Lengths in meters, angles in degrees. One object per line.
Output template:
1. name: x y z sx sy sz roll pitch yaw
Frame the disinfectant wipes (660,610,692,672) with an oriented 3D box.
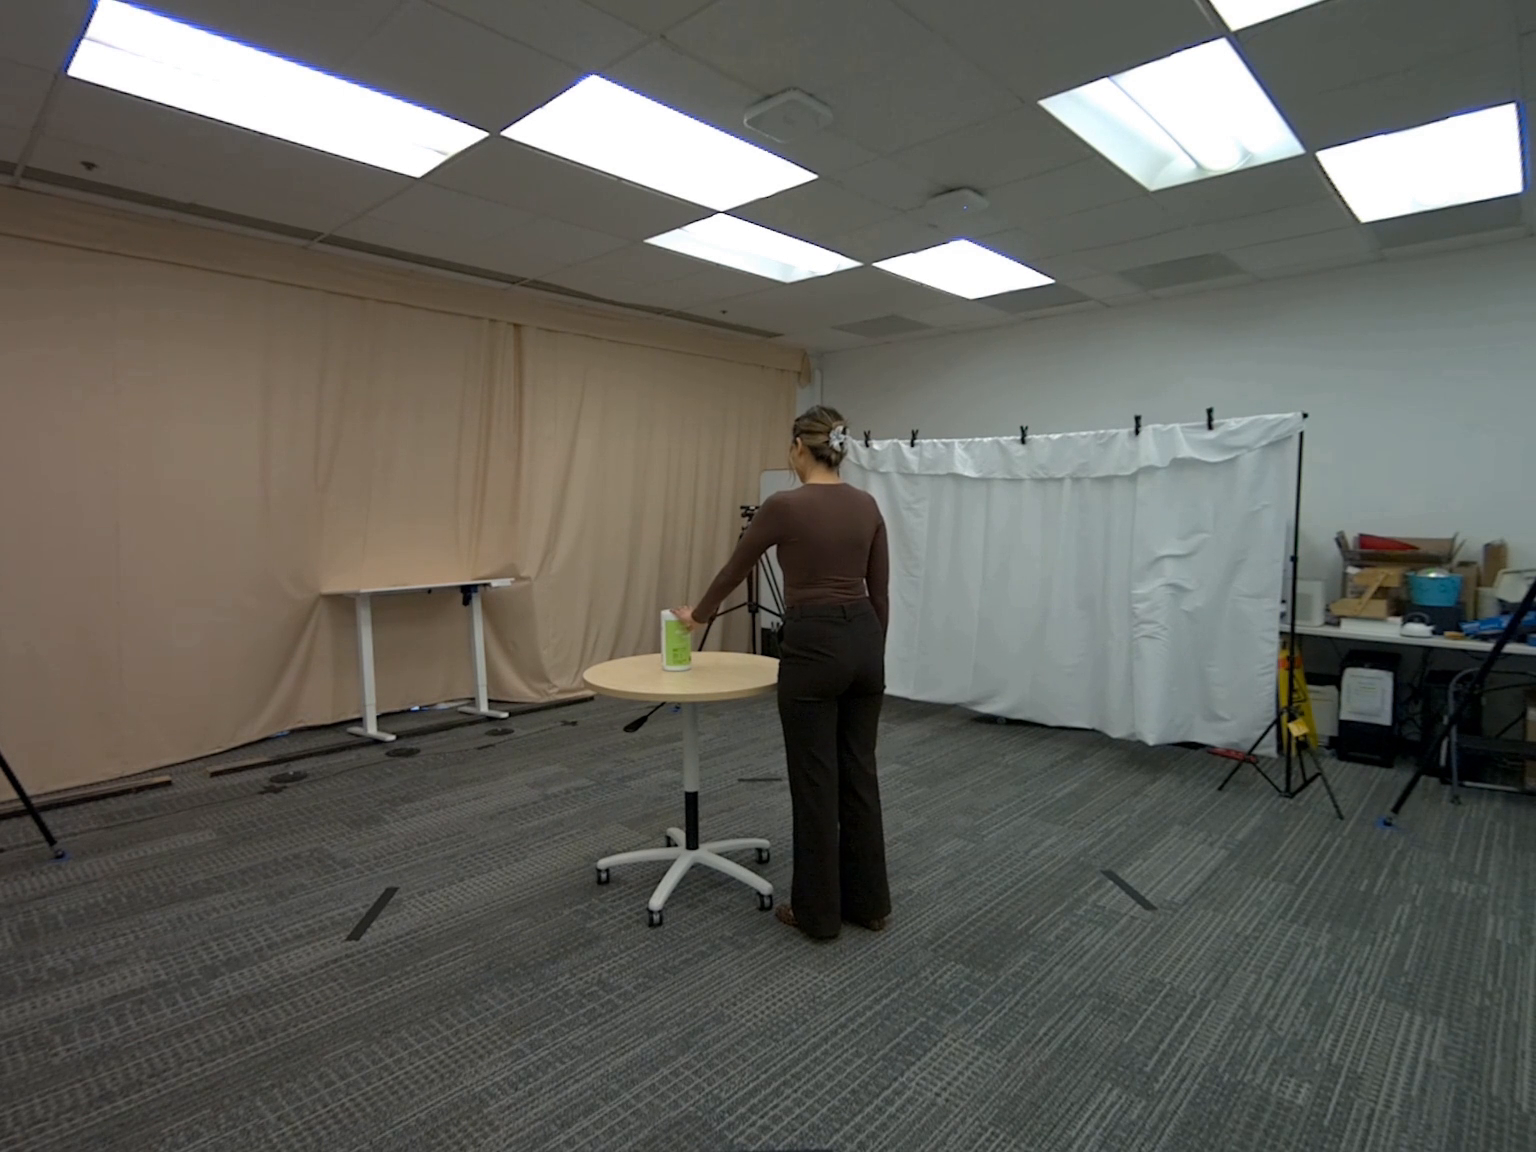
1. disinfectant wipes: -0.336 0.236 3.079 0.117 0.217 0.118 1 3 -2
